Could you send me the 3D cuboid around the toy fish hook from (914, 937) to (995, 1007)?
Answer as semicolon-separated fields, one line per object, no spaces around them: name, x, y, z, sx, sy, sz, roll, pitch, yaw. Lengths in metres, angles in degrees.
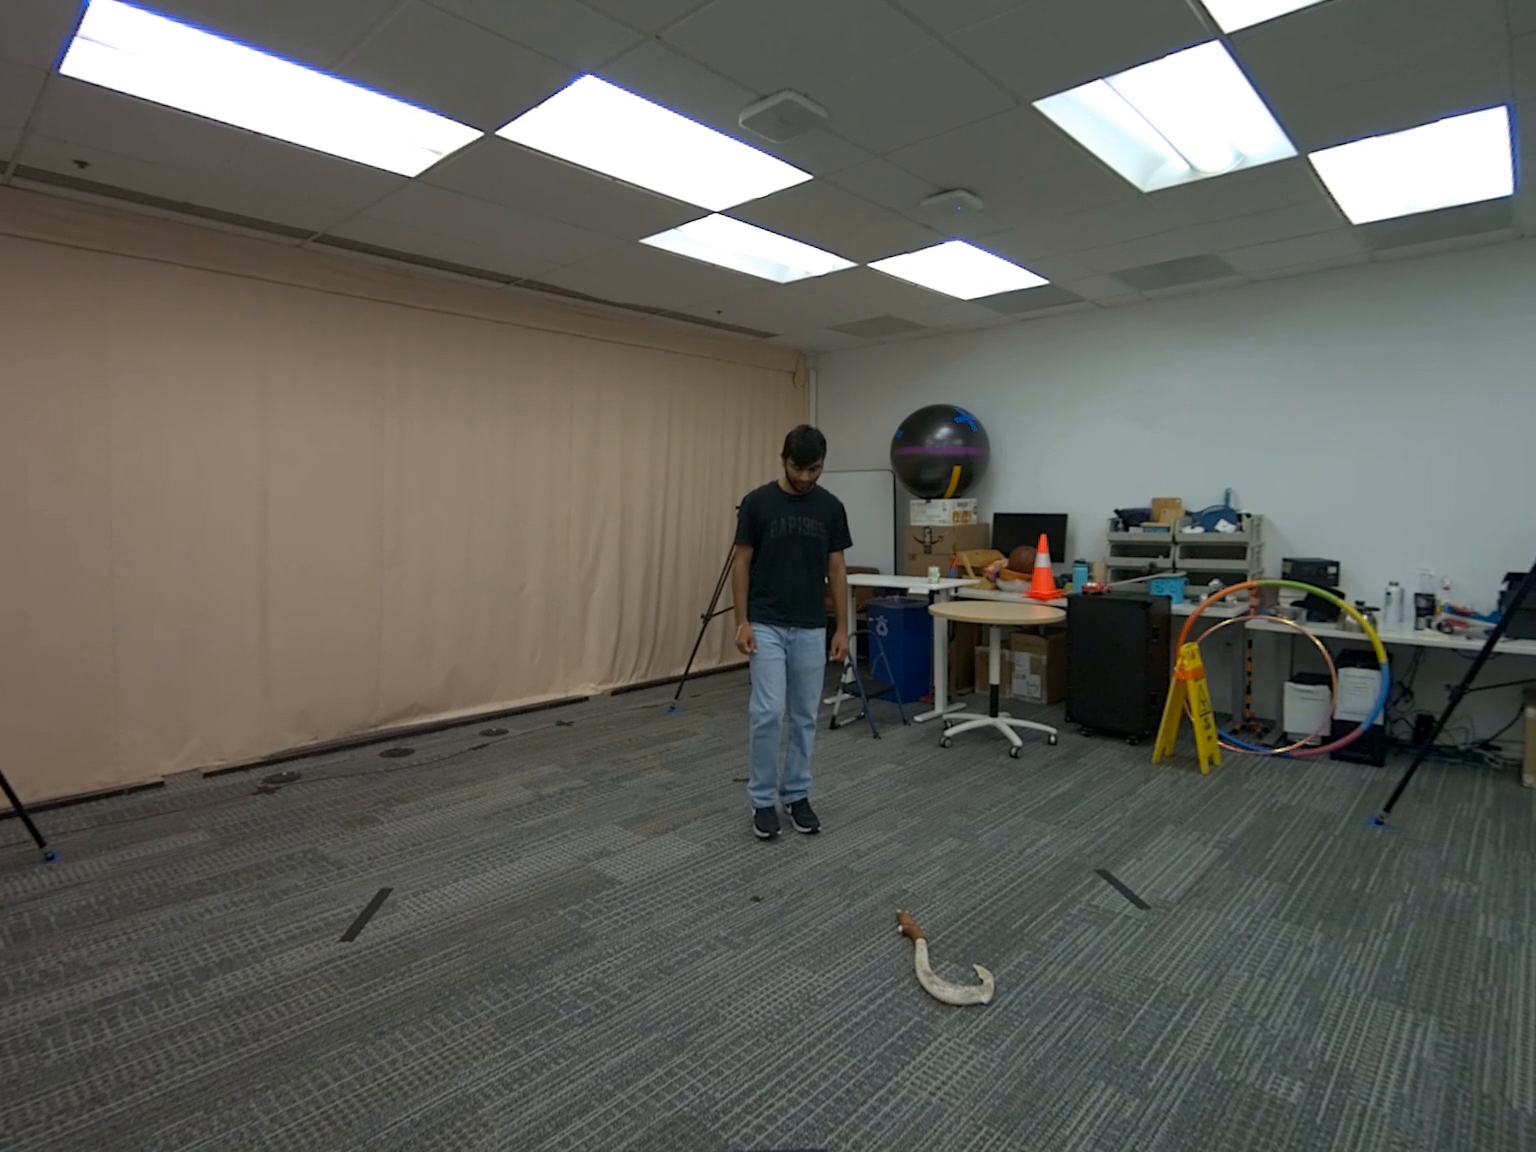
toy fish hook;0.535;1.161;2.581;0.223;0.048;0.511;7;4;-7
